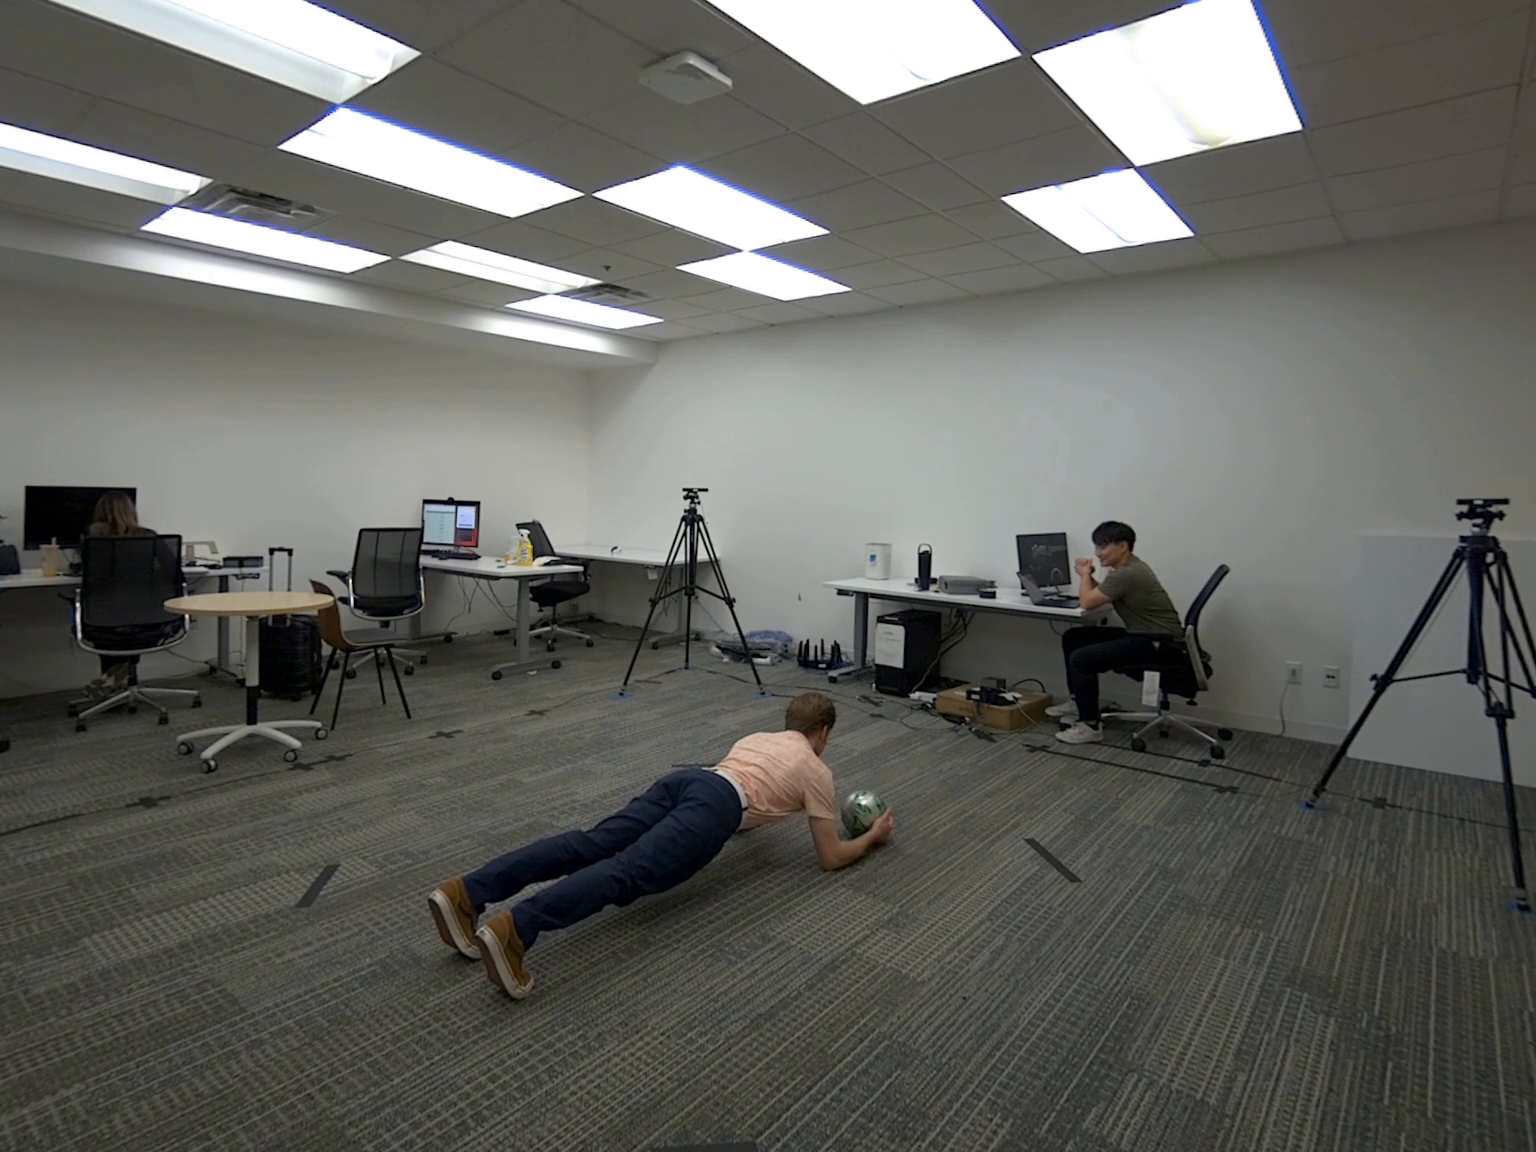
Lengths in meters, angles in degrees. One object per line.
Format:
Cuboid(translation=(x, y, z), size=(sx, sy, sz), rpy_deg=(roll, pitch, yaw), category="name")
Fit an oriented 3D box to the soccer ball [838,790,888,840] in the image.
Cuboid(translation=(0.361, 0.960, 3.443), size=(0.187, 0.187, 0.188), rpy_deg=(1, 4, -2), category="soccer ball")
